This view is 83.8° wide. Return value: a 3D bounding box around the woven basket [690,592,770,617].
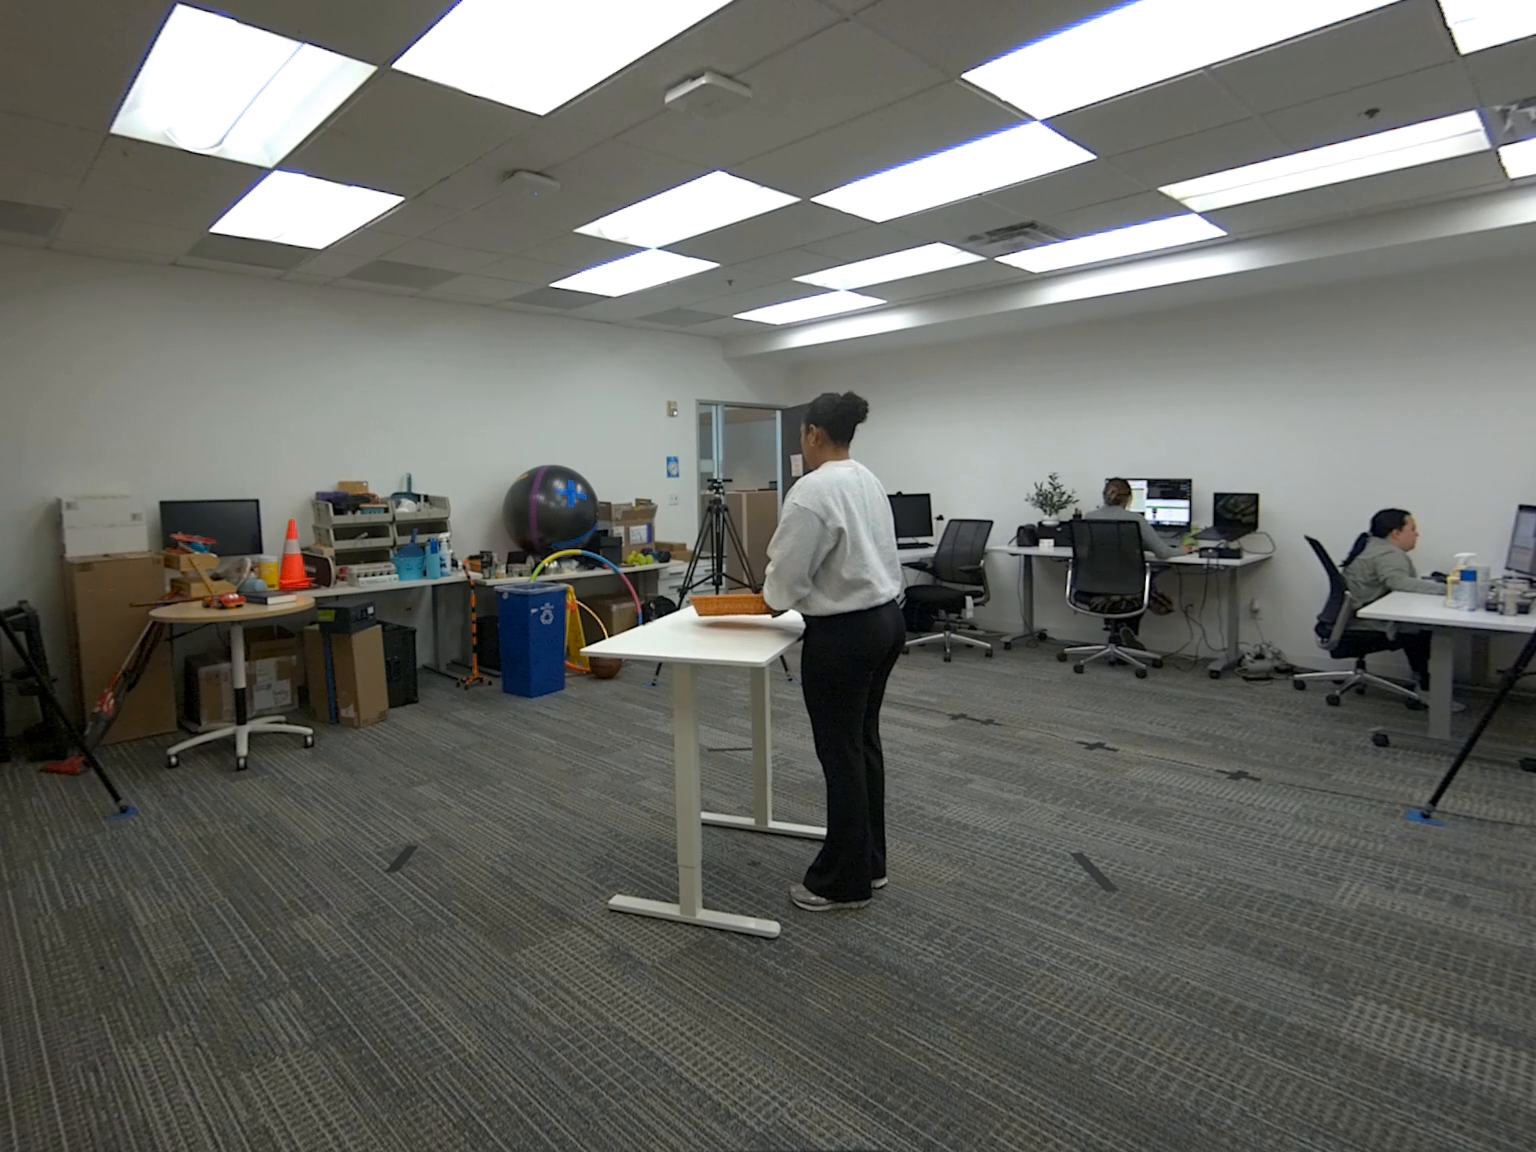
[{"bbox_3d":[-0.101,0.107,3.037,0.358,0.073,0.247,-1,0,24],"label":"woven basket"}]
